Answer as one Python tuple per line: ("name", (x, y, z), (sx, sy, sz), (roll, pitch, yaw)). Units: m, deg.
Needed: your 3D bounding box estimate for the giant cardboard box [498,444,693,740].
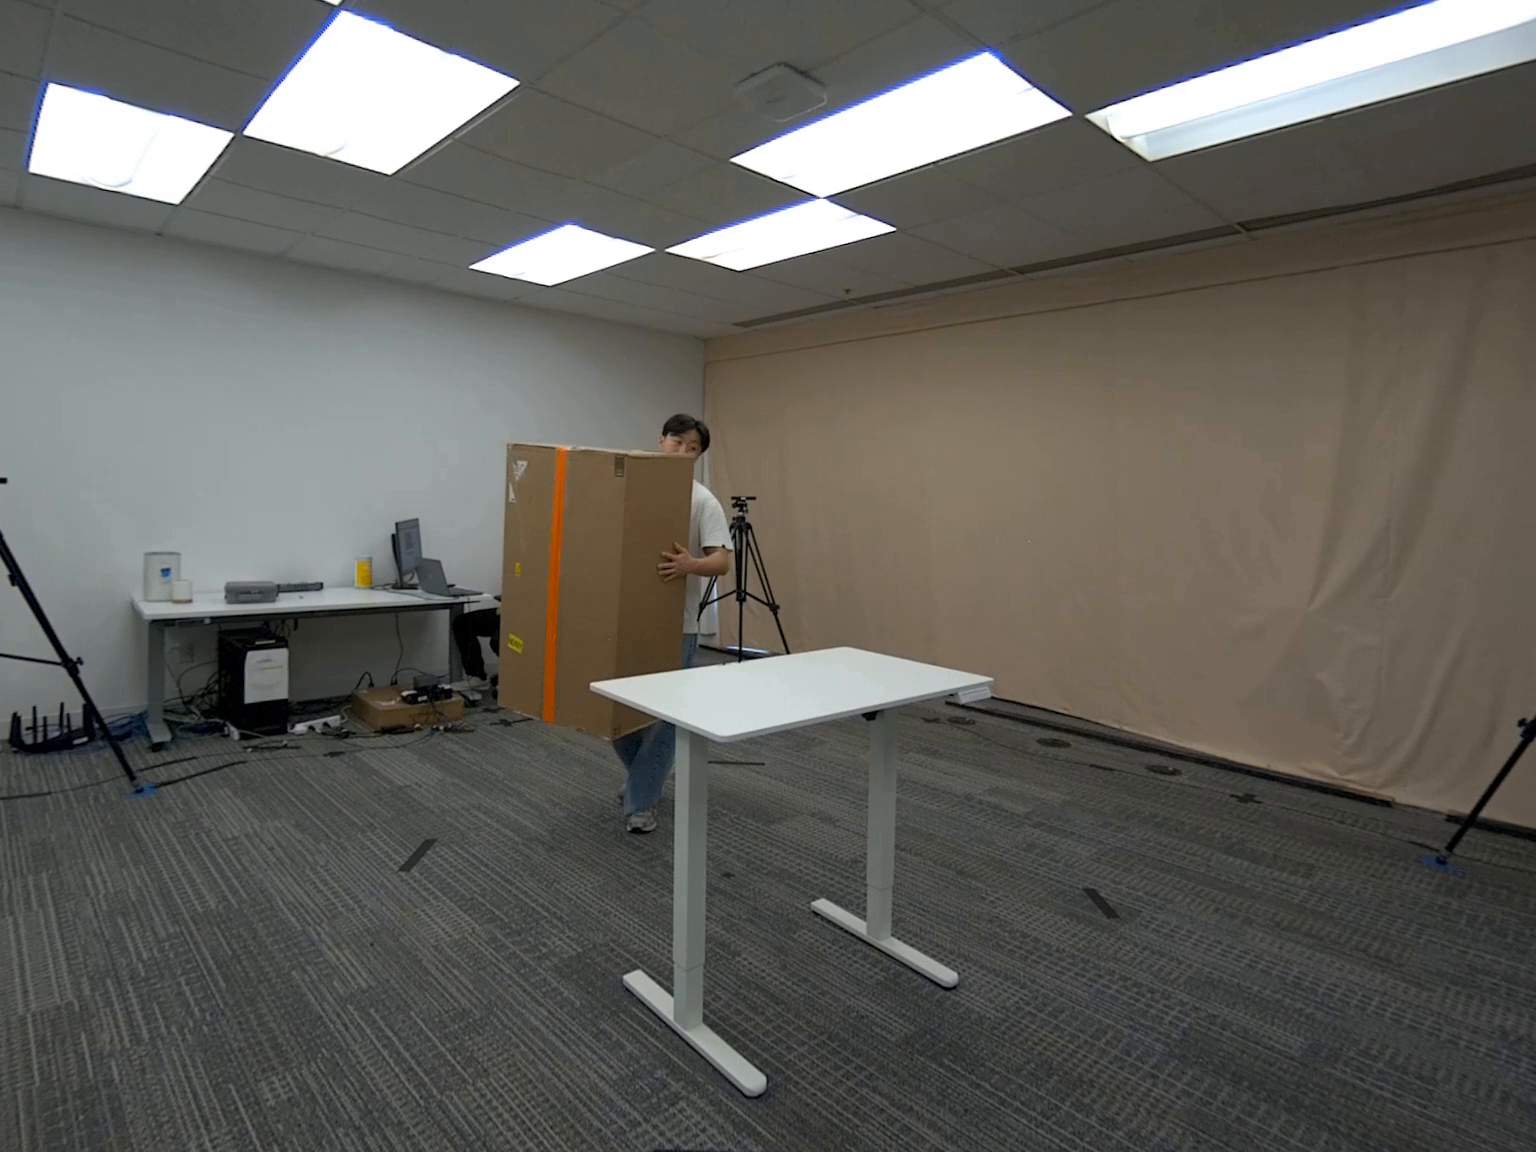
("giant cardboard box", (-0.665, 0.025, 3.232), (0.591, 1.021, 0.418), (8, 8, 31))
